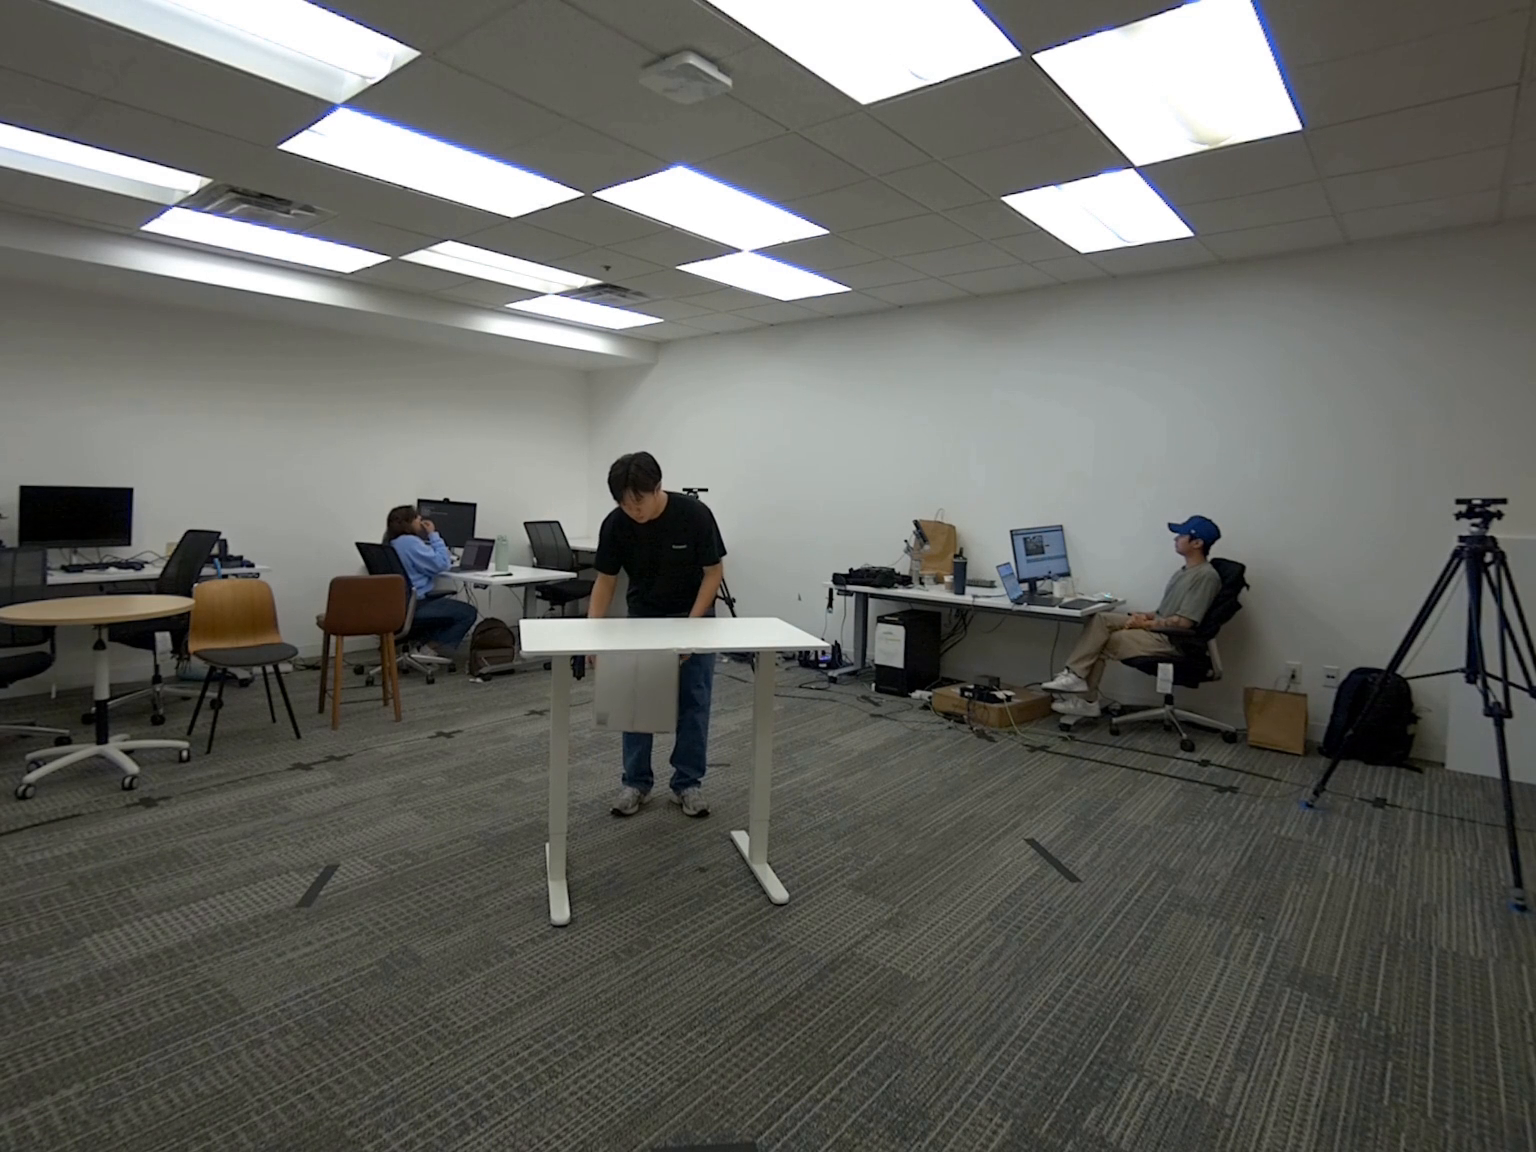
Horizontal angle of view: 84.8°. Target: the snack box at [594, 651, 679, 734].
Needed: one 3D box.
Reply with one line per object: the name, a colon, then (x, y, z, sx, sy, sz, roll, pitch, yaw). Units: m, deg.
snack box: (-0.543, 0.416, 3.482, 0.340, 0.406, 0.205, 2, -3, -1)
